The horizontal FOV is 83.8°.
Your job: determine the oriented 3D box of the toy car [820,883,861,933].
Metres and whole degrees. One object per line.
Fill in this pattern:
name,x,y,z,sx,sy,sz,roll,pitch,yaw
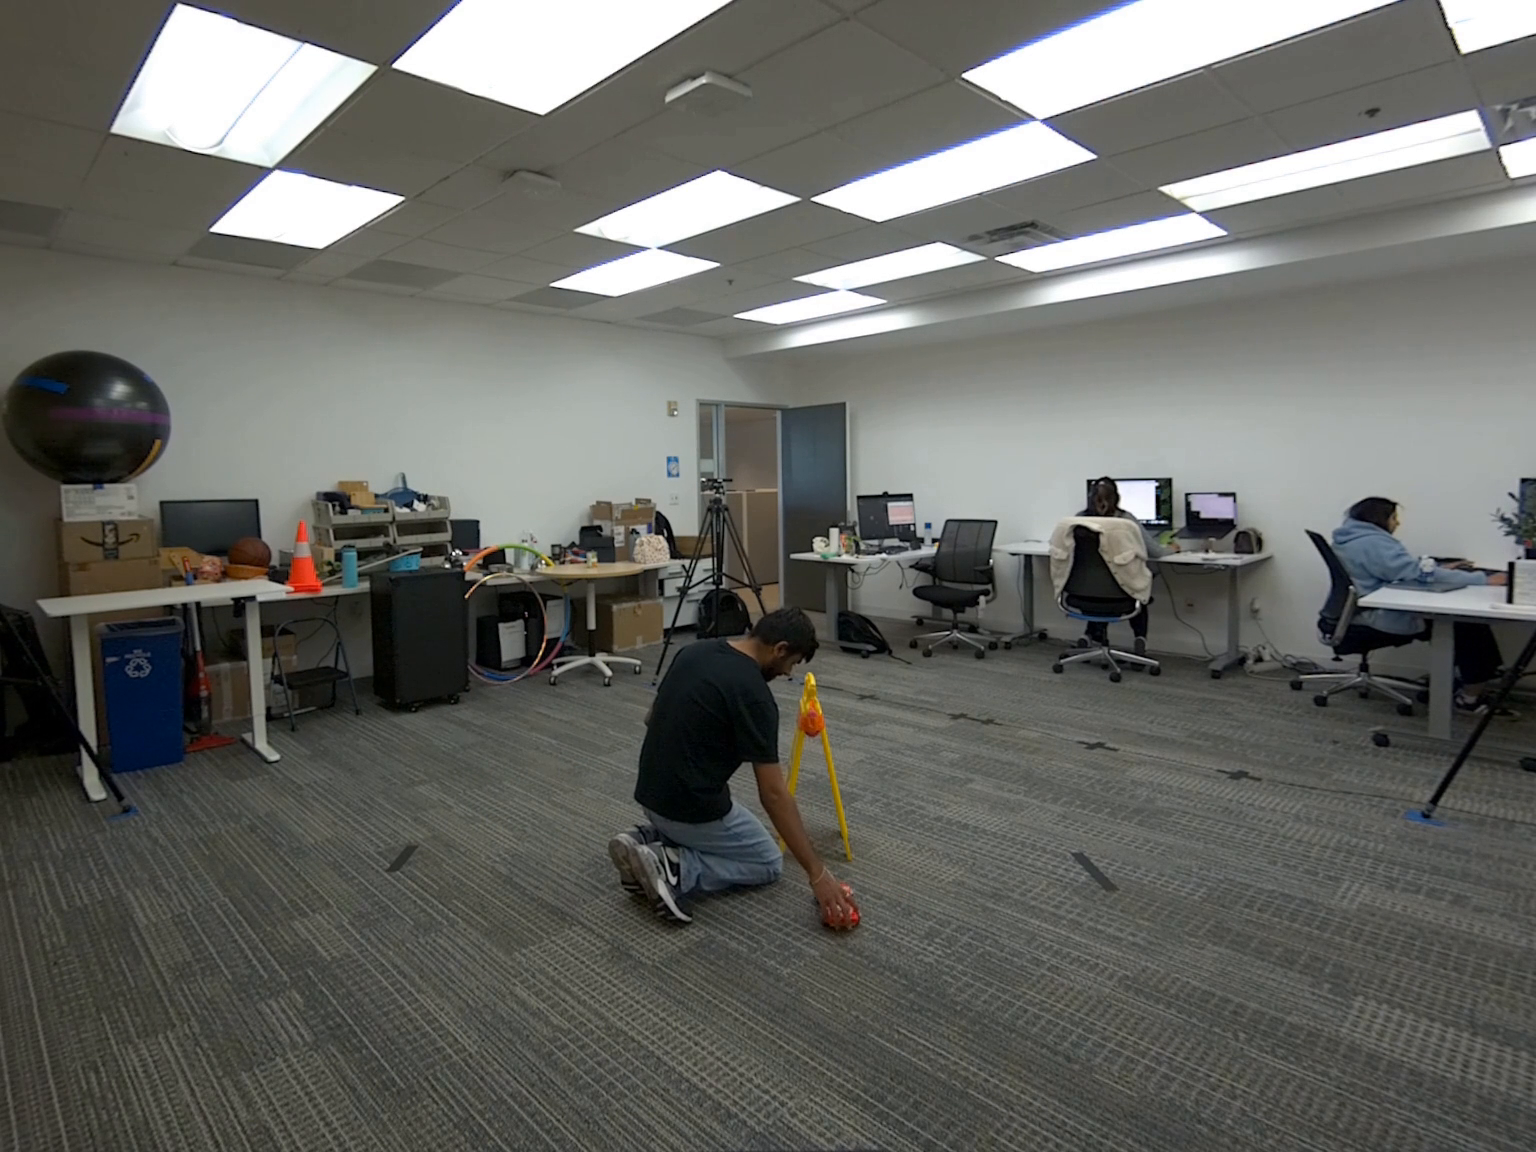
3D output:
toy car,0.220,1.045,2.735,0.130,0.084,0.253,1,-5,-2
